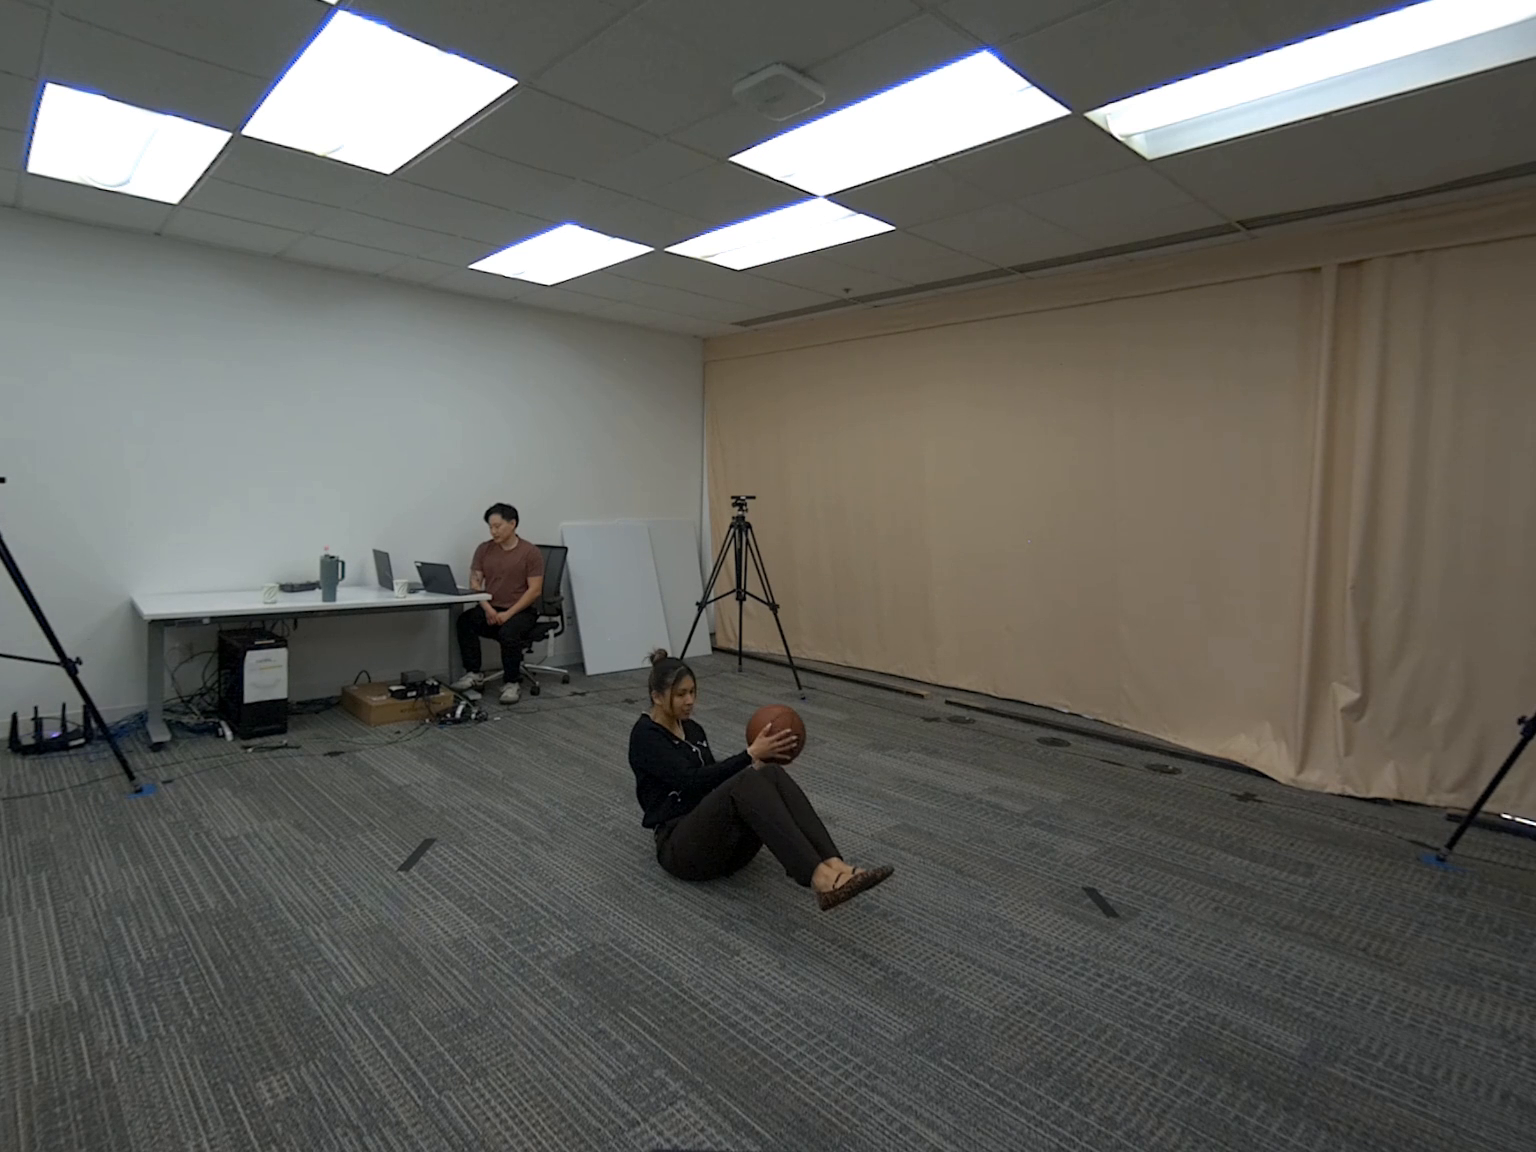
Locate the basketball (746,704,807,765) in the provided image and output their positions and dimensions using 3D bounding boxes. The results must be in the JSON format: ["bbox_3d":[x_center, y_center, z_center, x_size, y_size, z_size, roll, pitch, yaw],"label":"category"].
[{"bbox_3d":[0.006,0.622,3.288,0.236,0.235,0.237,1,4,-1],"label":"basketball"}]
